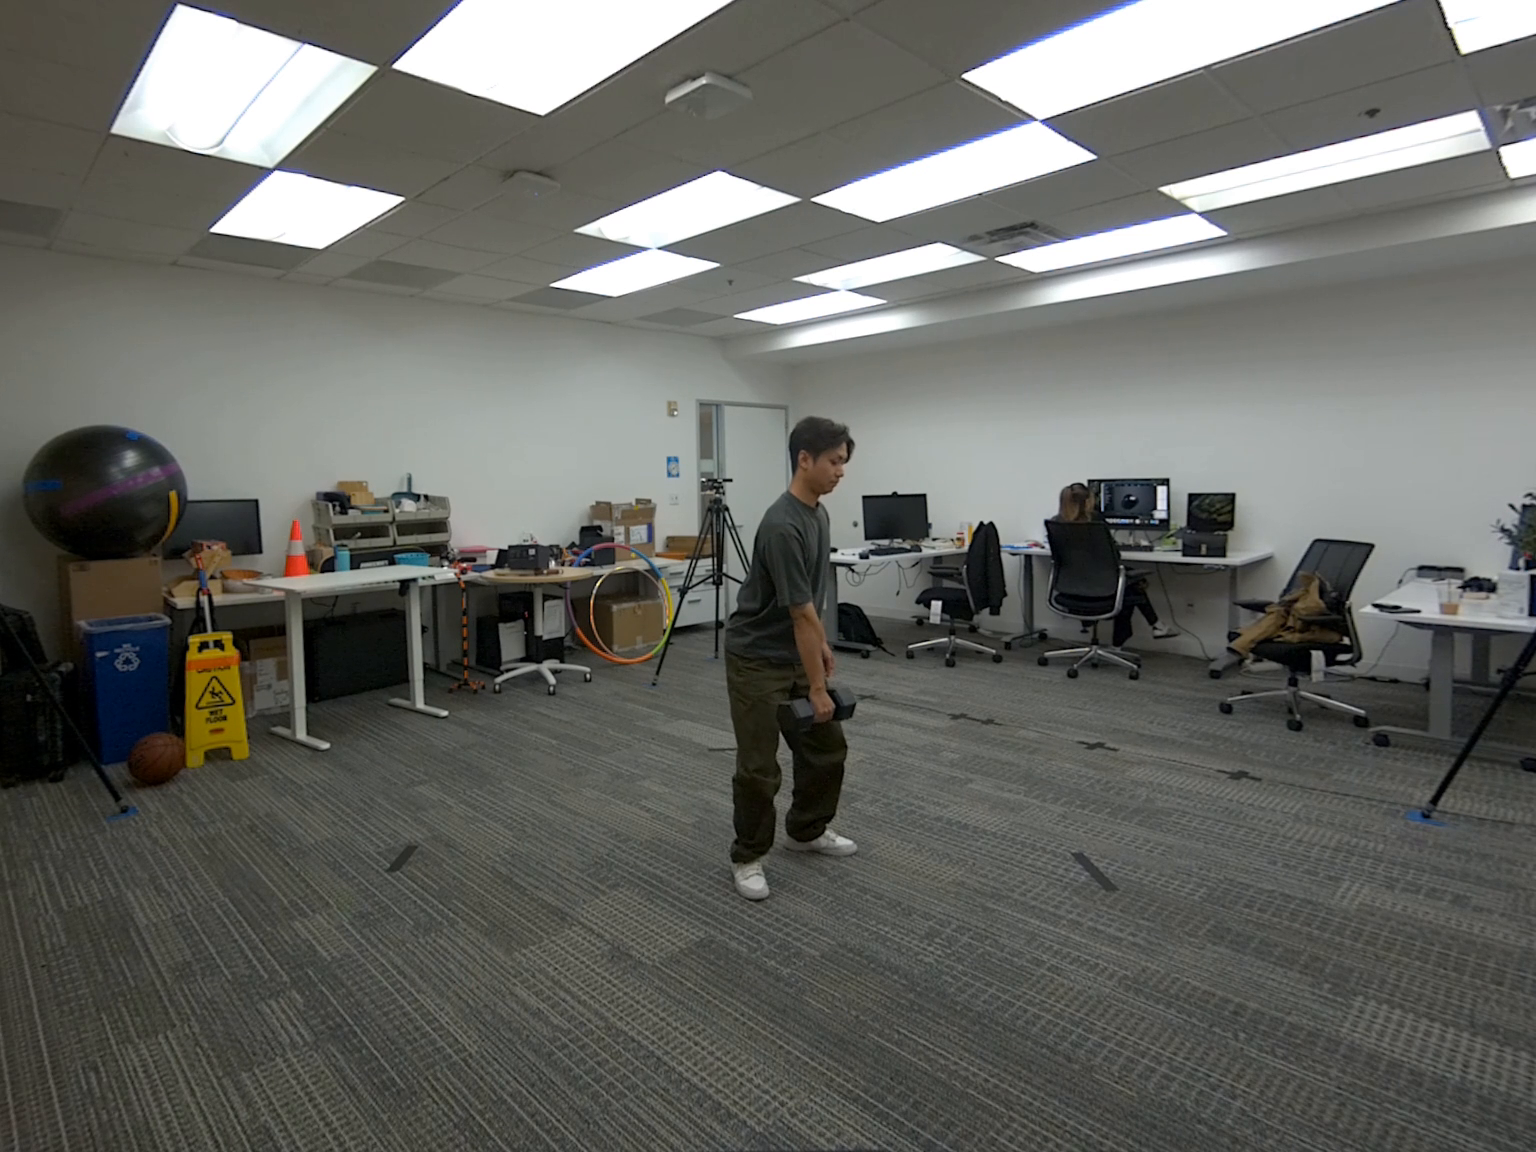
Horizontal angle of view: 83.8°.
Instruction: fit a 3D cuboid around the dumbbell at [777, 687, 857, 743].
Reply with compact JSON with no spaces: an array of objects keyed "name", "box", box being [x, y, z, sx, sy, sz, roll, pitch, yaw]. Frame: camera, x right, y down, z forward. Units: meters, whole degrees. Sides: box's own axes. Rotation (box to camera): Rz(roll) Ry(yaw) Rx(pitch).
[{"name":"dumbbell","box":[0.162,0.457,2.875,0.286,0.121,0.113,-7,29,-40]}]
